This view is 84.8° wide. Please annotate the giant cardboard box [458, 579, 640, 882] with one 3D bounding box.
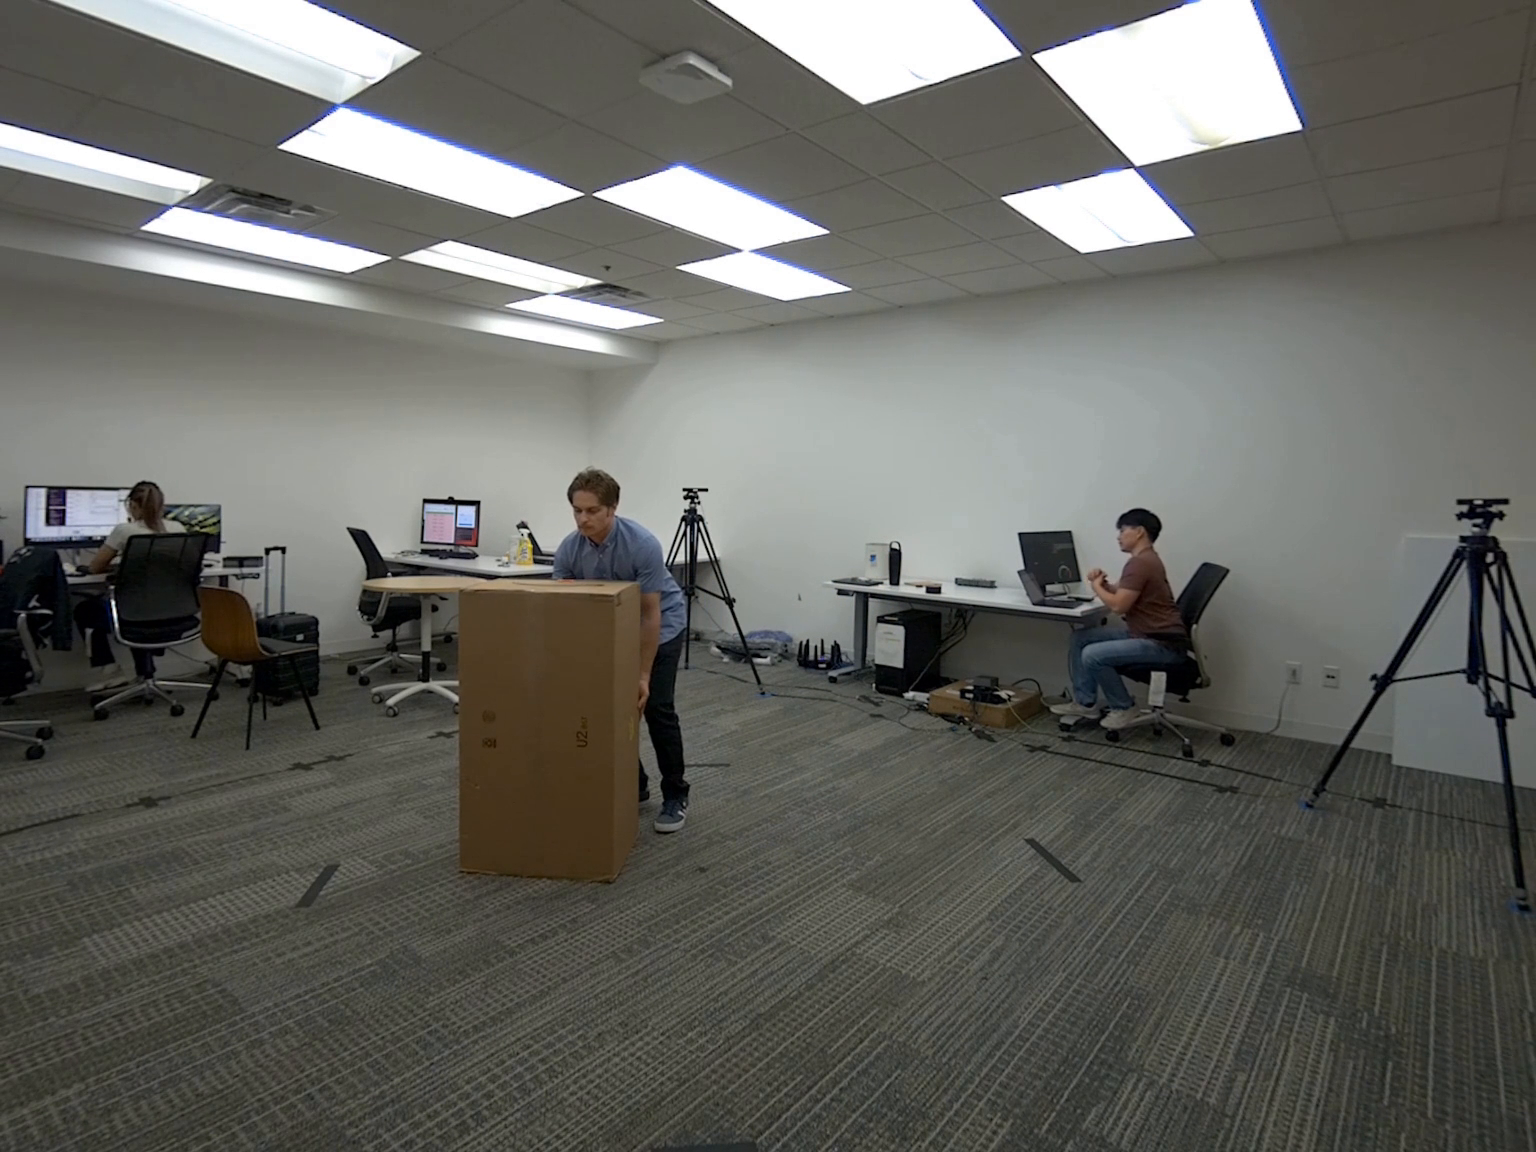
[{"bbox_3d":[-0.824,0.542,3.202,0.583,1.023,0.423,1,3,8],"label":"giant cardboard box"}]
